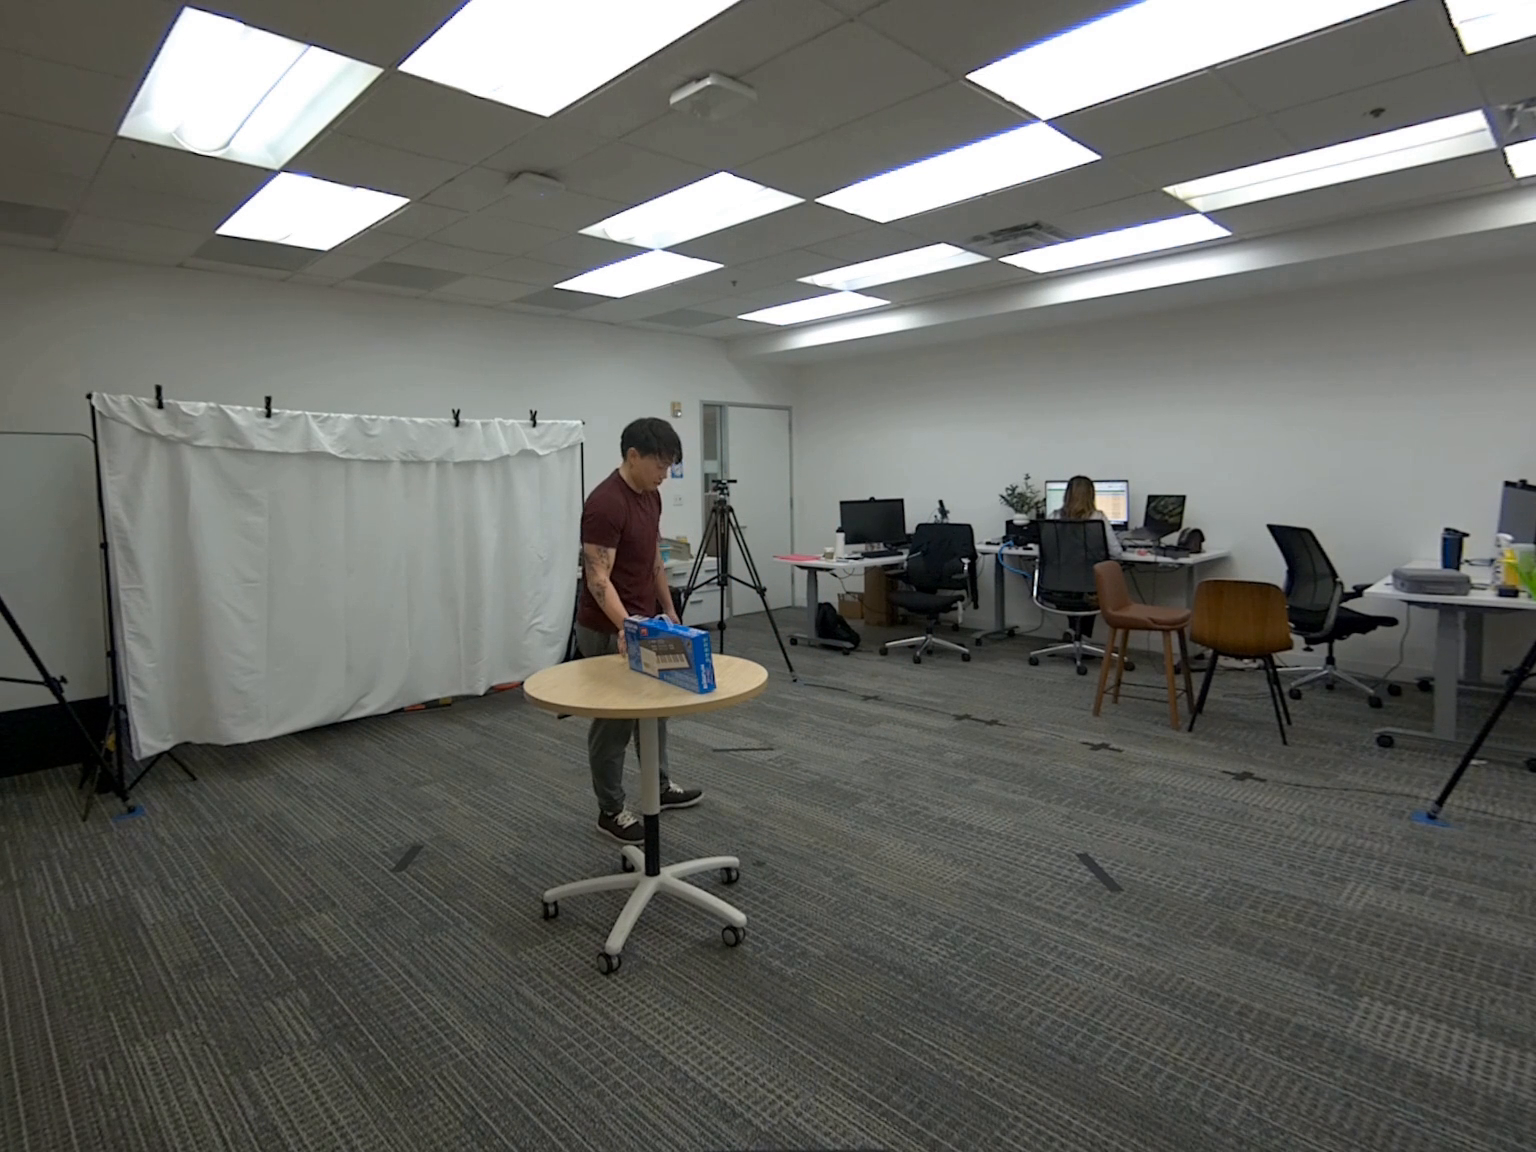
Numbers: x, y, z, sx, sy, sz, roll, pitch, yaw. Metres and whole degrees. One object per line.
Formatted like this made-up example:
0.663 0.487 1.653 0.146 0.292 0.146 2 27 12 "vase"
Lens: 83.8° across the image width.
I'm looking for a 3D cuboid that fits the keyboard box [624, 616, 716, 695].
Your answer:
-0.311 0.237 2.640 0.058 0.174 0.450 -12 11 -34 "keyboard box"
